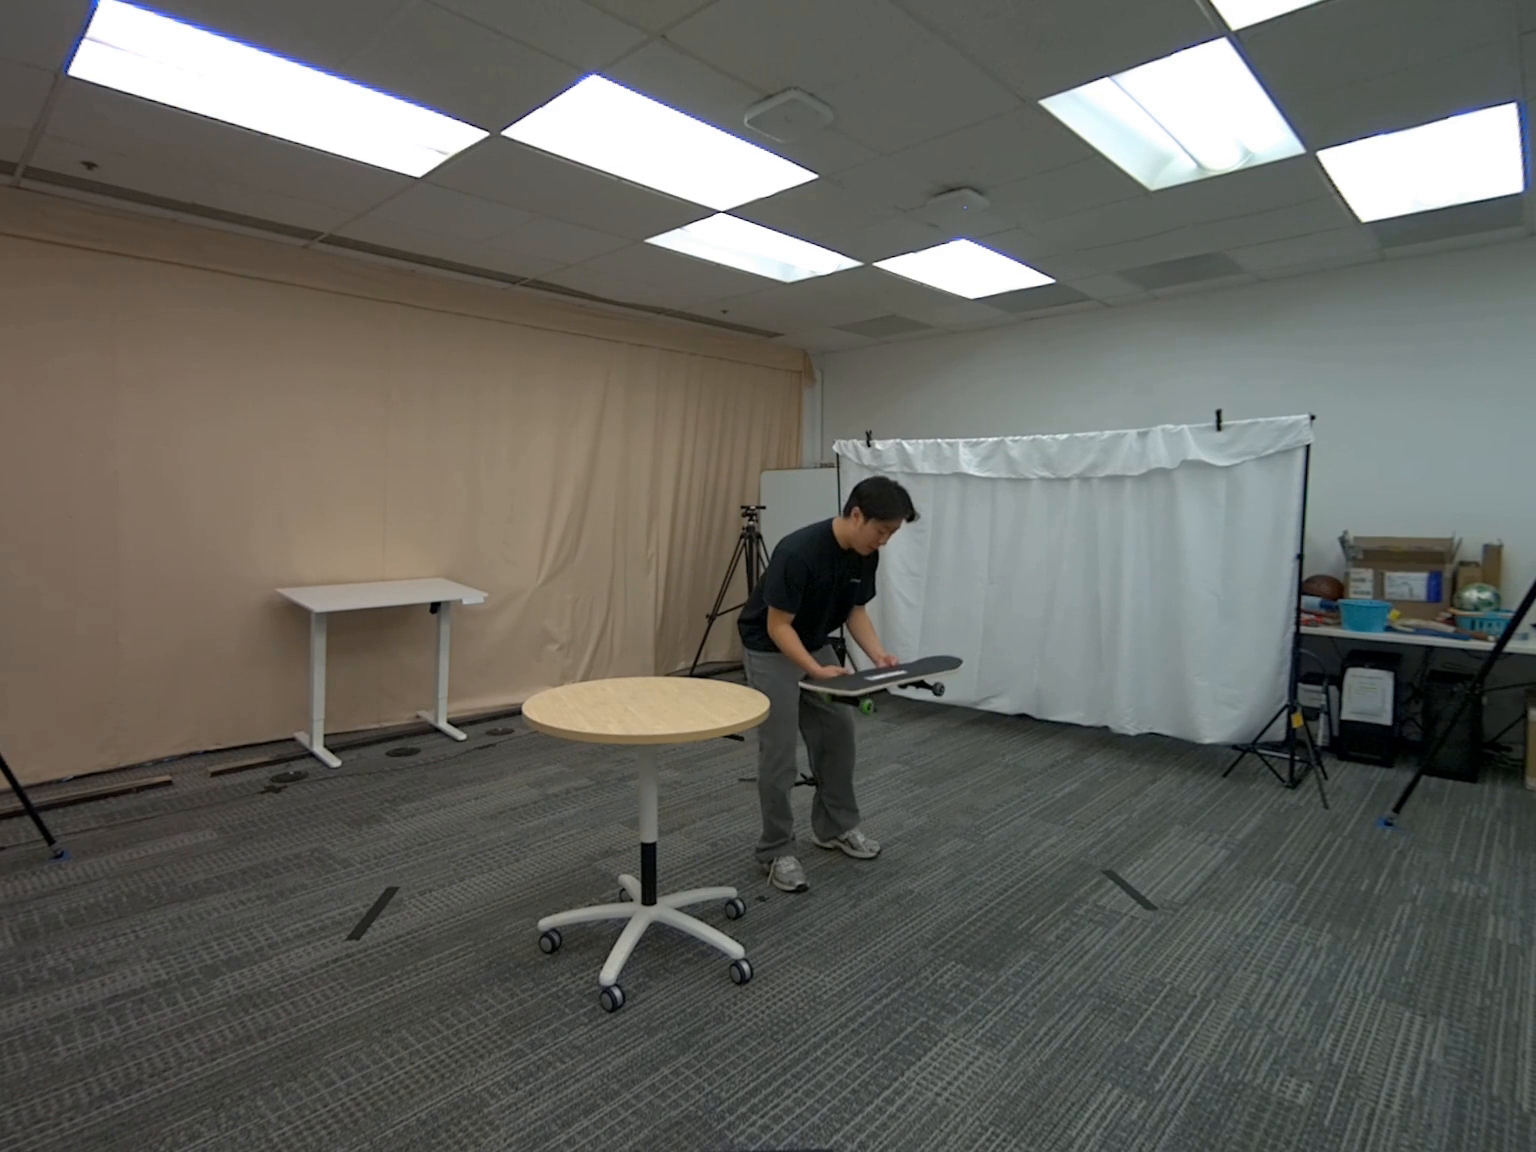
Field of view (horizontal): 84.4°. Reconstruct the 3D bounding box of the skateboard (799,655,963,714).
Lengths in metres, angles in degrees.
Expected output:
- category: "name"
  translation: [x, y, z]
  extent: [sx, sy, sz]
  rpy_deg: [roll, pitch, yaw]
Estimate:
- category: "skateboard"
  translation: [0.415, 0.384, 2.897]
  extent: [0.761, 0.110, 0.200]
  rpy_deg: [-4, 7, -43]
